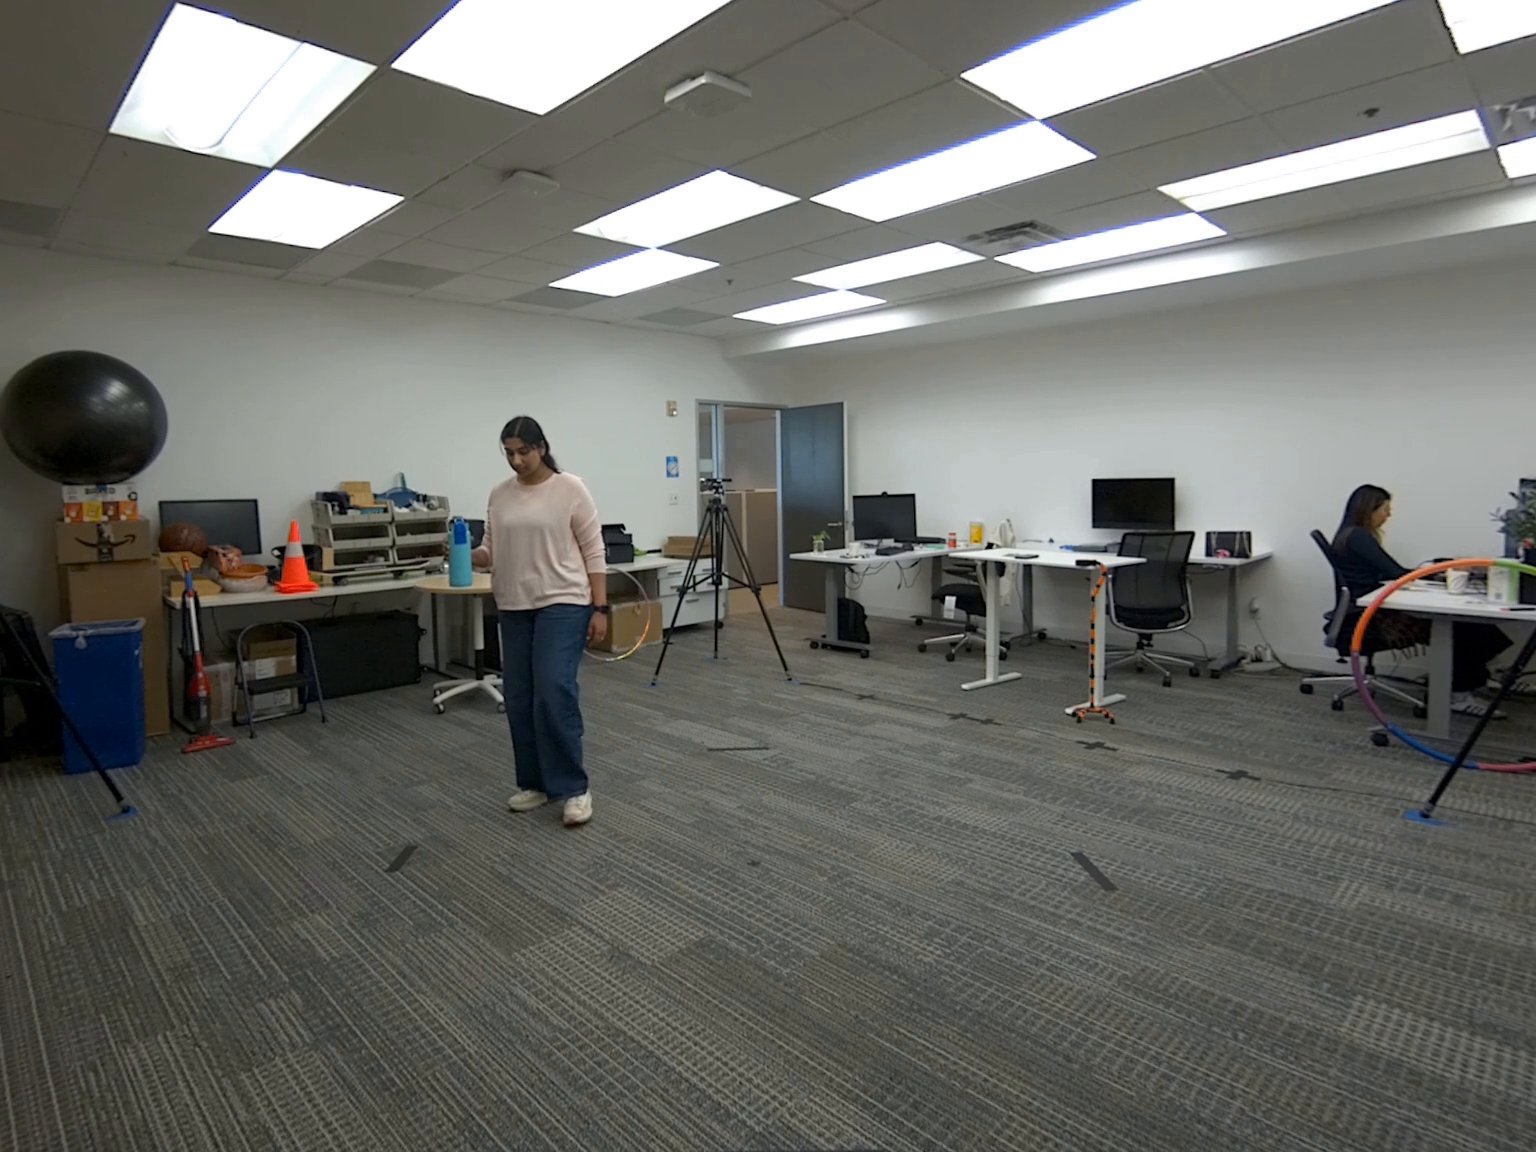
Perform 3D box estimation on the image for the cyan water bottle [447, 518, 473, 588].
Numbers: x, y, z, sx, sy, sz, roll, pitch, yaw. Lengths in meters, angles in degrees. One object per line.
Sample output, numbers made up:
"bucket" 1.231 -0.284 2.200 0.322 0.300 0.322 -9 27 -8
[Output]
"cyan water bottle" -1.248 -0.098 3.444 0.092 0.281 0.093 -1 8 -2
